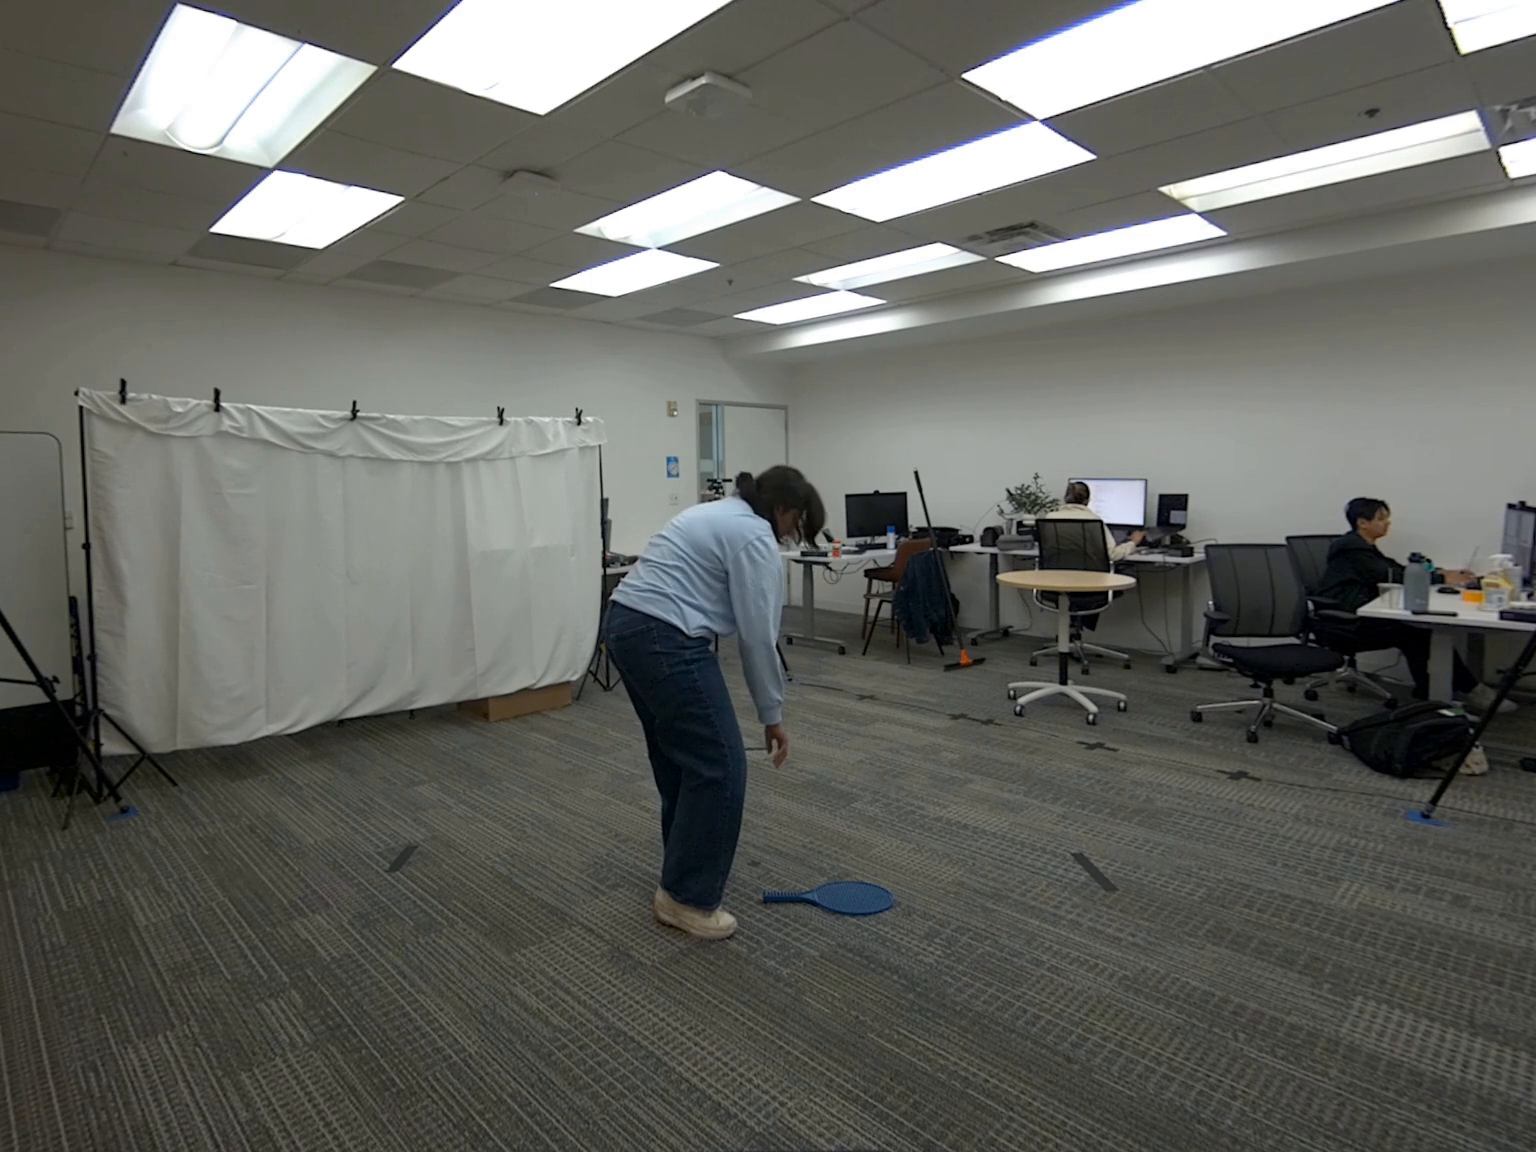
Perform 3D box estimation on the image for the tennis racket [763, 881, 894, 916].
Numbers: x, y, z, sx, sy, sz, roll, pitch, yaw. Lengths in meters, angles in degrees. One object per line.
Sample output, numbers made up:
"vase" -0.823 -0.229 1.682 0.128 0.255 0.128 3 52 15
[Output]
"tennis racket" 0.200 1.056 2.825 0.433 0.031 0.214 0 6 0
